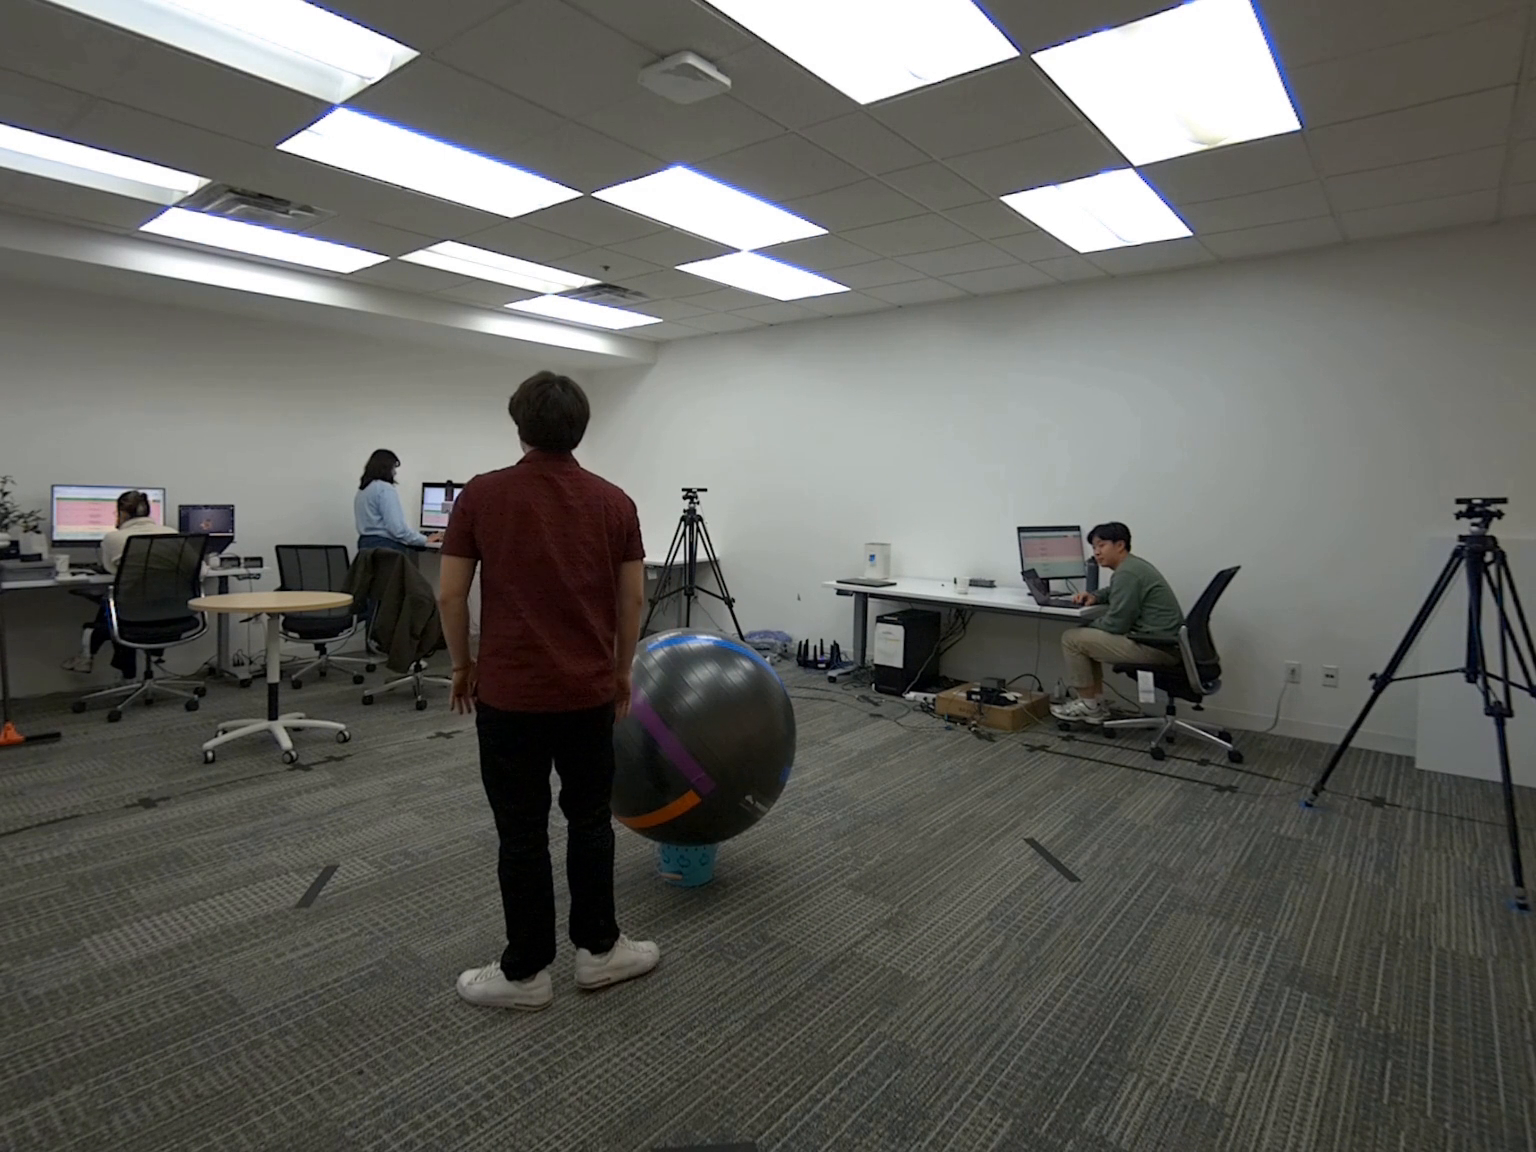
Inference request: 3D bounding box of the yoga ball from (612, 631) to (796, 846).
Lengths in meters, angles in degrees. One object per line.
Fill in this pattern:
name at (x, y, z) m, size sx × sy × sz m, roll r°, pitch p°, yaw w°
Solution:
yoga ball at (-0.276, 0.567, 3.040) m, size 0.757 × 0.755 × 0.762 m, roll 1°, pitch 4°, yaw -2°
